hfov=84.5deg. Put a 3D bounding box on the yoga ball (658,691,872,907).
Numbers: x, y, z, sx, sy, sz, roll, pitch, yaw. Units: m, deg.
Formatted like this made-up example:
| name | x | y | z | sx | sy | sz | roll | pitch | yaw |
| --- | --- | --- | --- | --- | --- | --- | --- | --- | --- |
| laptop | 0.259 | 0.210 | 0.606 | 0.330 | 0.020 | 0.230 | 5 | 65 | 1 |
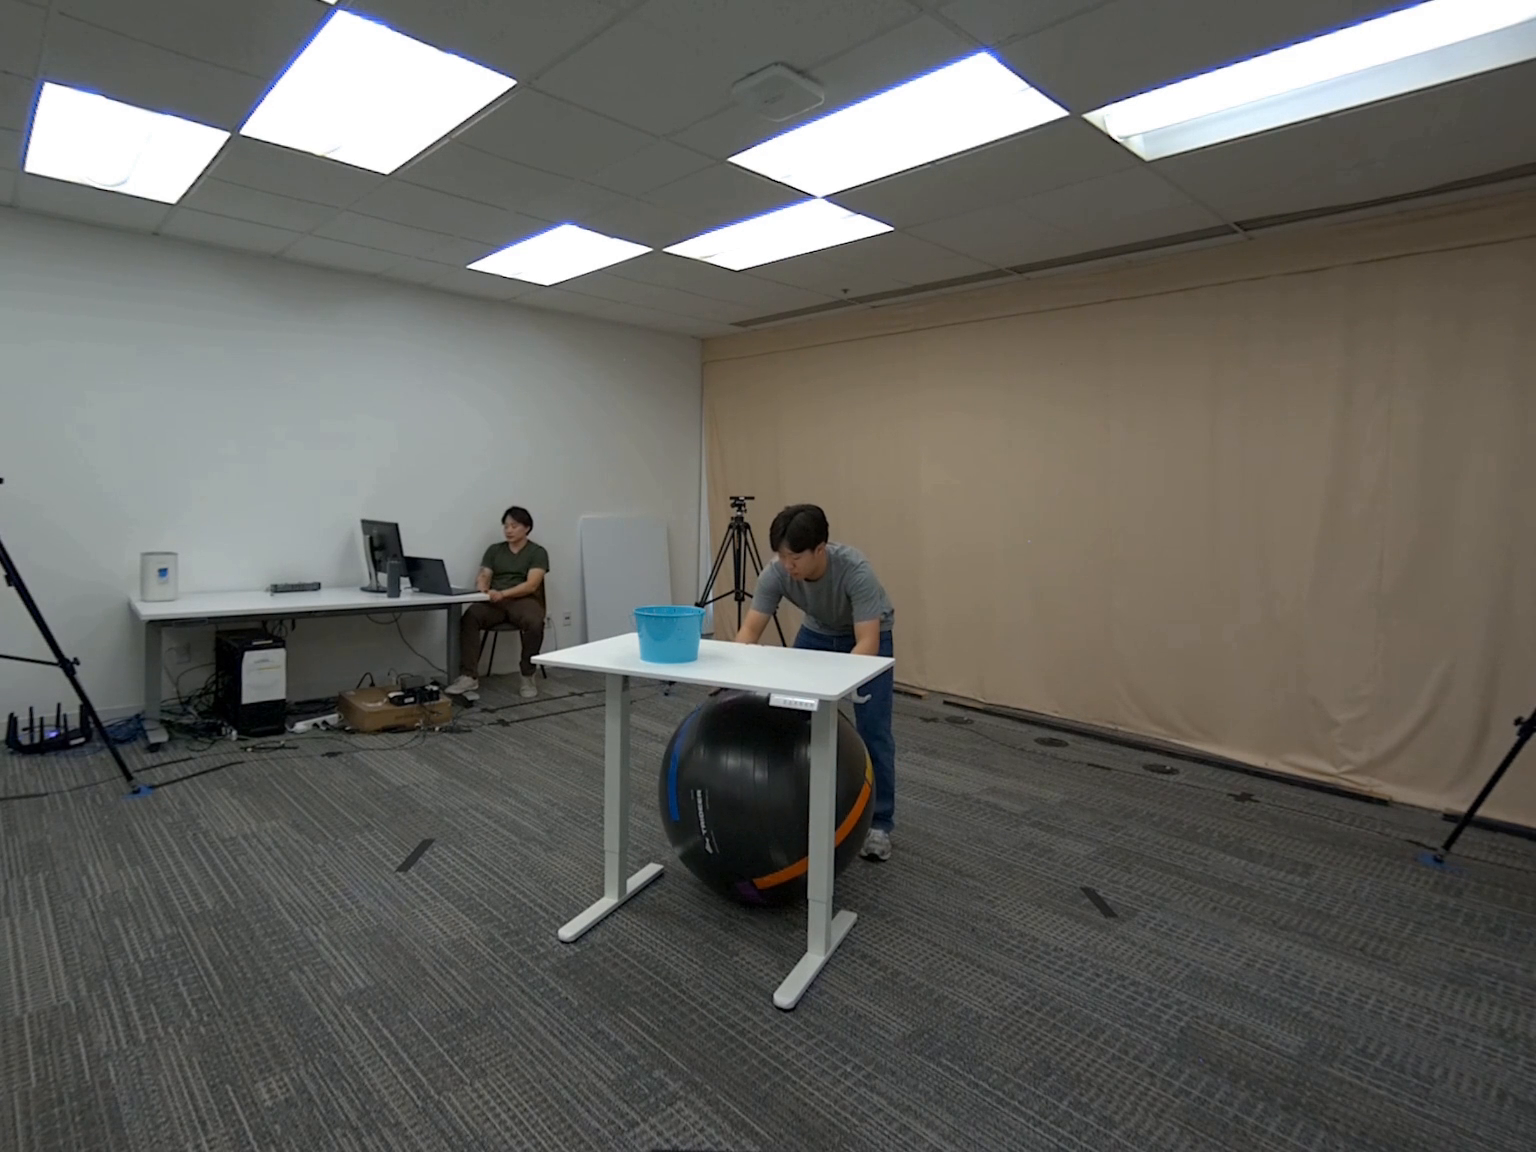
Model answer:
| name | x | y | z | sx | sy | sz | roll | pitch | yaw |
| --- | --- | --- | --- | --- | --- | --- | --- | --- | --- |
| yoga ball | -0.004 | 0.752 | 2.973 | 0.757 | 0.756 | 0.761 | 1 | 4 | -1 |
